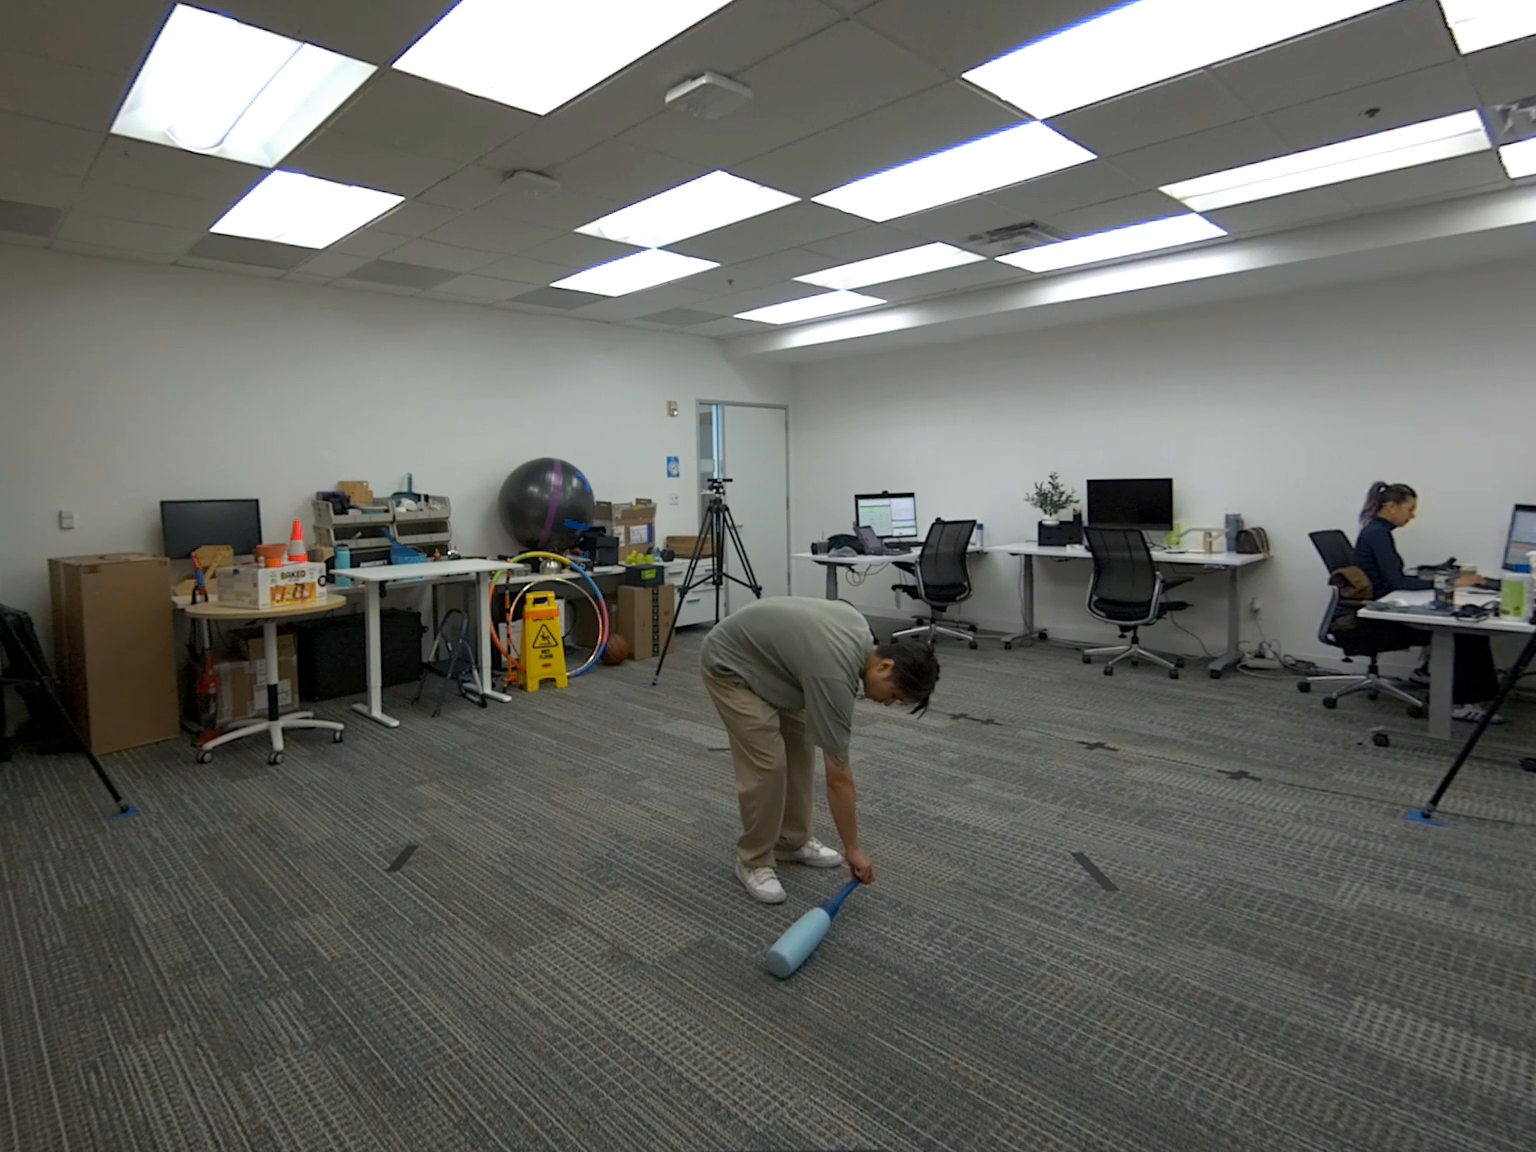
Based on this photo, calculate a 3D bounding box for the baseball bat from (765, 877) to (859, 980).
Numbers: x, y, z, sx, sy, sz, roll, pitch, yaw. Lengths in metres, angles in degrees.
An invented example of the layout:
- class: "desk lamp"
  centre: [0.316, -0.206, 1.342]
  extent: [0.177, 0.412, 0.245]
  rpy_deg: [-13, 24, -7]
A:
- class: "baseball bat"
  centre: [0.168, 1.036, 2.589]
  extent: [0.091, 0.088, 0.532]
  rpy_deg: [2, 13, 35]
